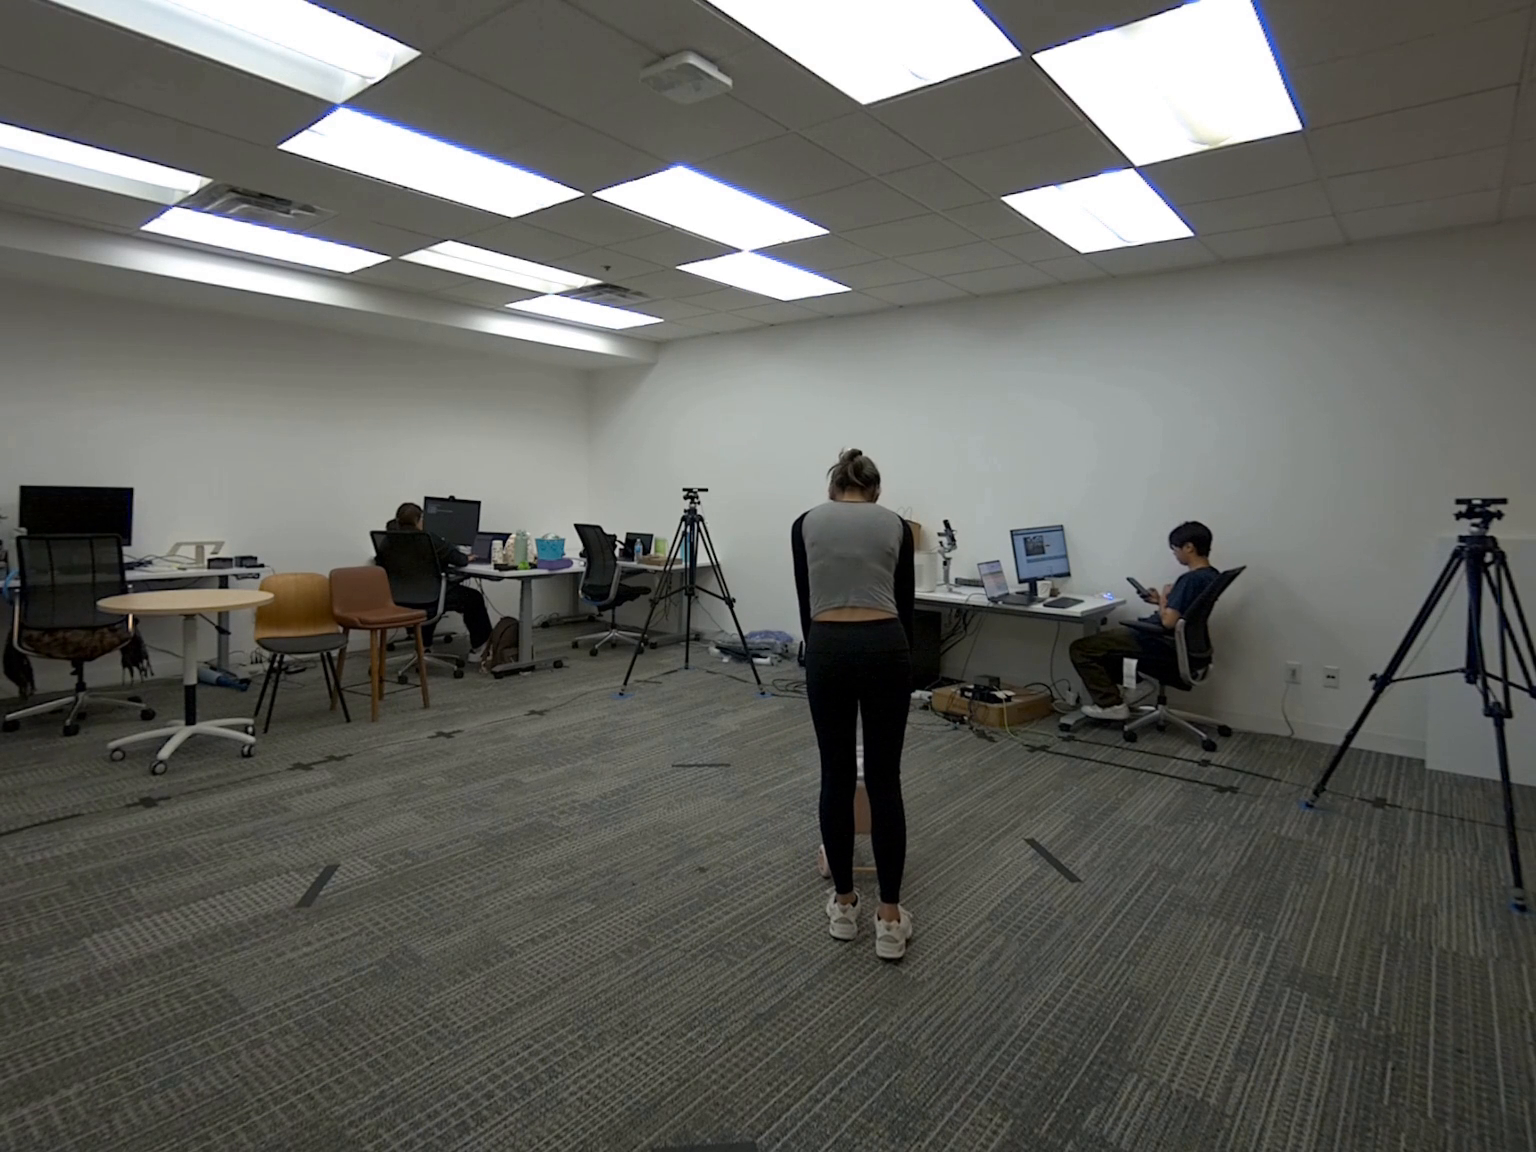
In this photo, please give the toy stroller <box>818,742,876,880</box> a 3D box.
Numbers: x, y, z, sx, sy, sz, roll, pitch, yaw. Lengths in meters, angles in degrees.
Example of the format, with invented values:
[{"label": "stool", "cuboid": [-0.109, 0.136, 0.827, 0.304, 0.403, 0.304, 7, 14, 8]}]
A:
[{"label": "toy stroller", "cuboid": [0.325, 0.854, 3.142, 0.281, 0.526, 0.348, 2, 20, -3]}]
